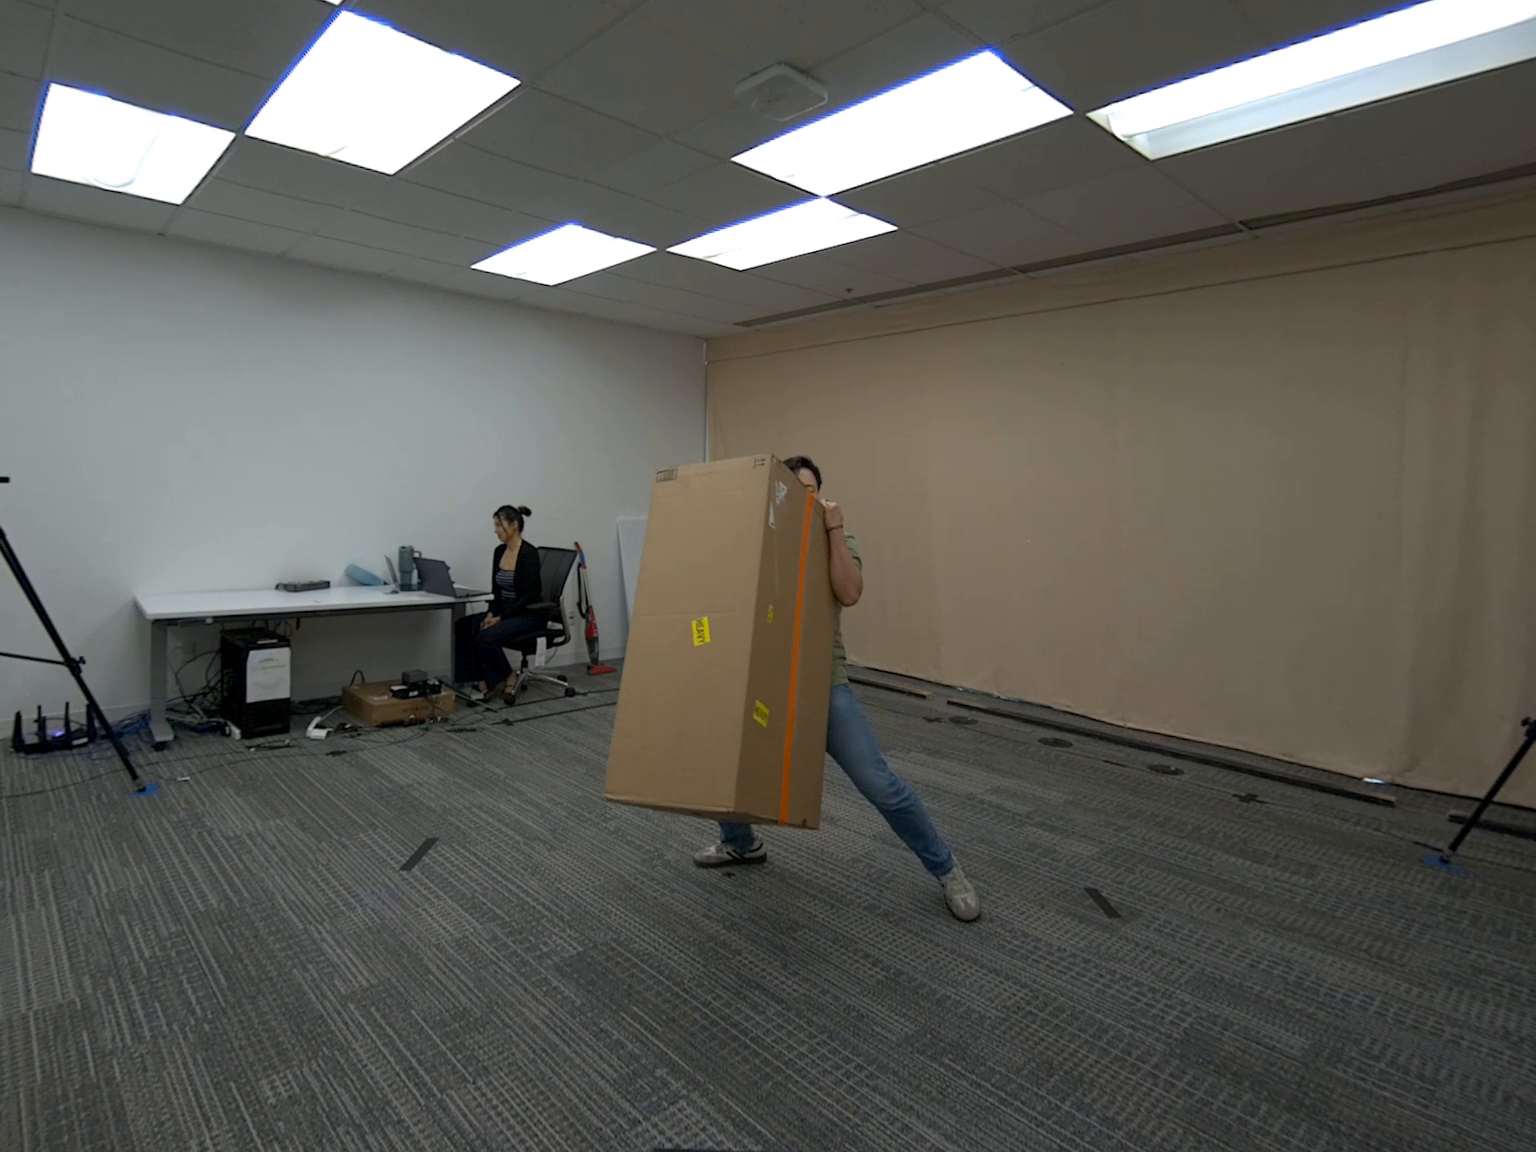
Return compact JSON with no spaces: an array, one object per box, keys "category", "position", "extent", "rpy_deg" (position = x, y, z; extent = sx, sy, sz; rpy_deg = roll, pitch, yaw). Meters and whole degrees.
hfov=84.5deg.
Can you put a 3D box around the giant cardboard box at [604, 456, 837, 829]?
[{"category":"giant cardboard box","position":[-0.109,0.238,2.630],"extent":[0.434,1.038,0.560],"rpy_deg":[-4,-21,28]}]
